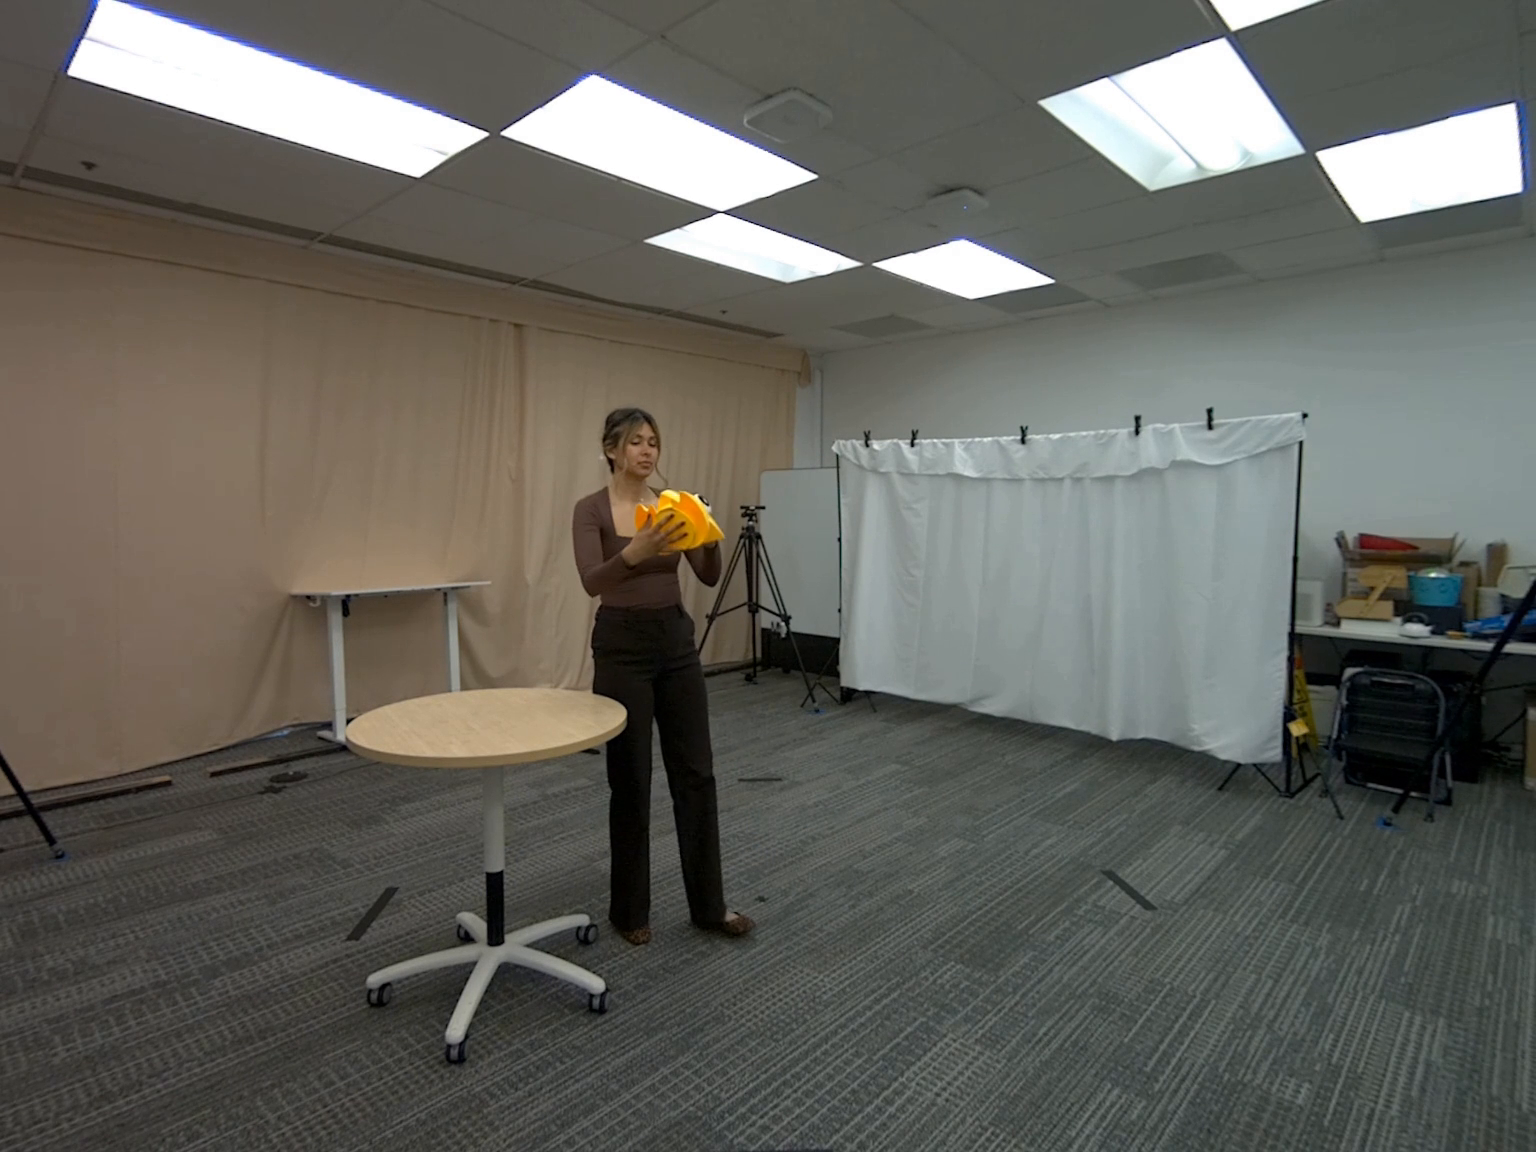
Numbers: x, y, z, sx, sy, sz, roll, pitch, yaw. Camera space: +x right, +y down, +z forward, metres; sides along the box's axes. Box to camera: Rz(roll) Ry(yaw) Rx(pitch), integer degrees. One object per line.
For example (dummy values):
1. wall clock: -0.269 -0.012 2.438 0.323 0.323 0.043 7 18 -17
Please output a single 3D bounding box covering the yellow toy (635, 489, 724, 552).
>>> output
1. yellow toy: -0.233 -0.178 2.363 0.208 0.189 0.231 -13 22 19
